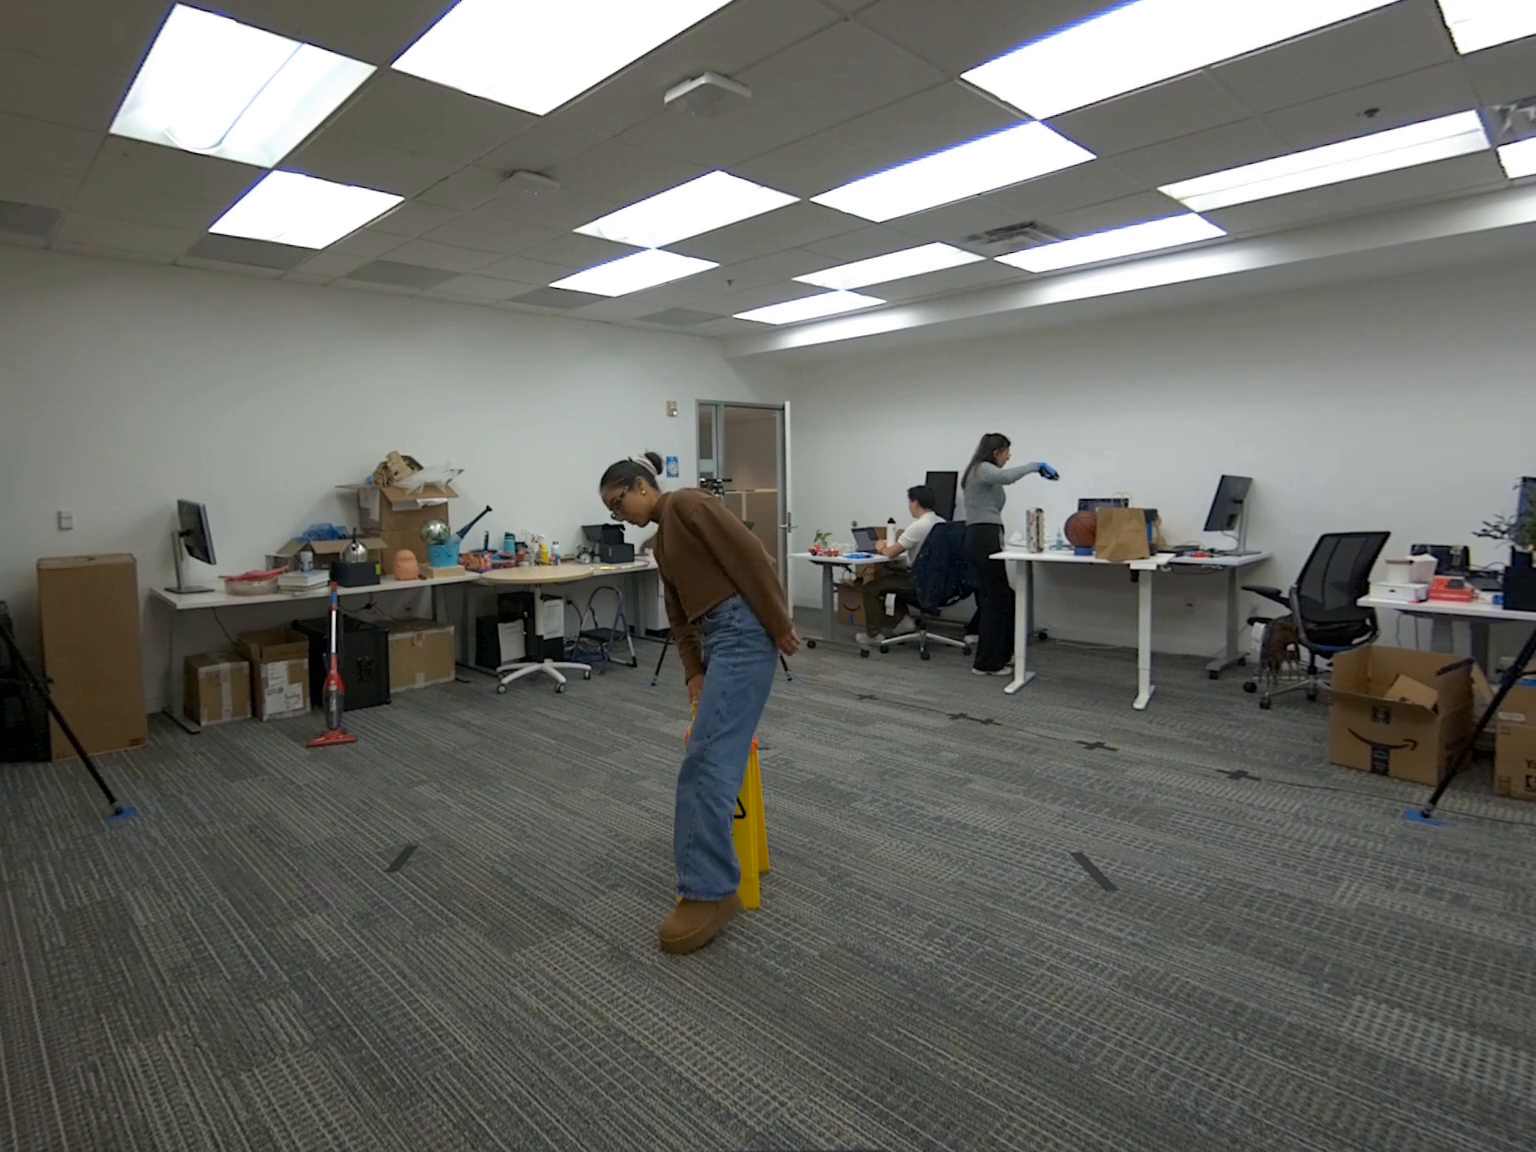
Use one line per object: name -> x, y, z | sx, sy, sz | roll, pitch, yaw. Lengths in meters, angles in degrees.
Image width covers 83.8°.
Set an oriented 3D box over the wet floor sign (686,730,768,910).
wet floor sign -> -0.151, 0.752, 2.910 | 0.285, 0.643, 0.288 | -1, 5, 9
